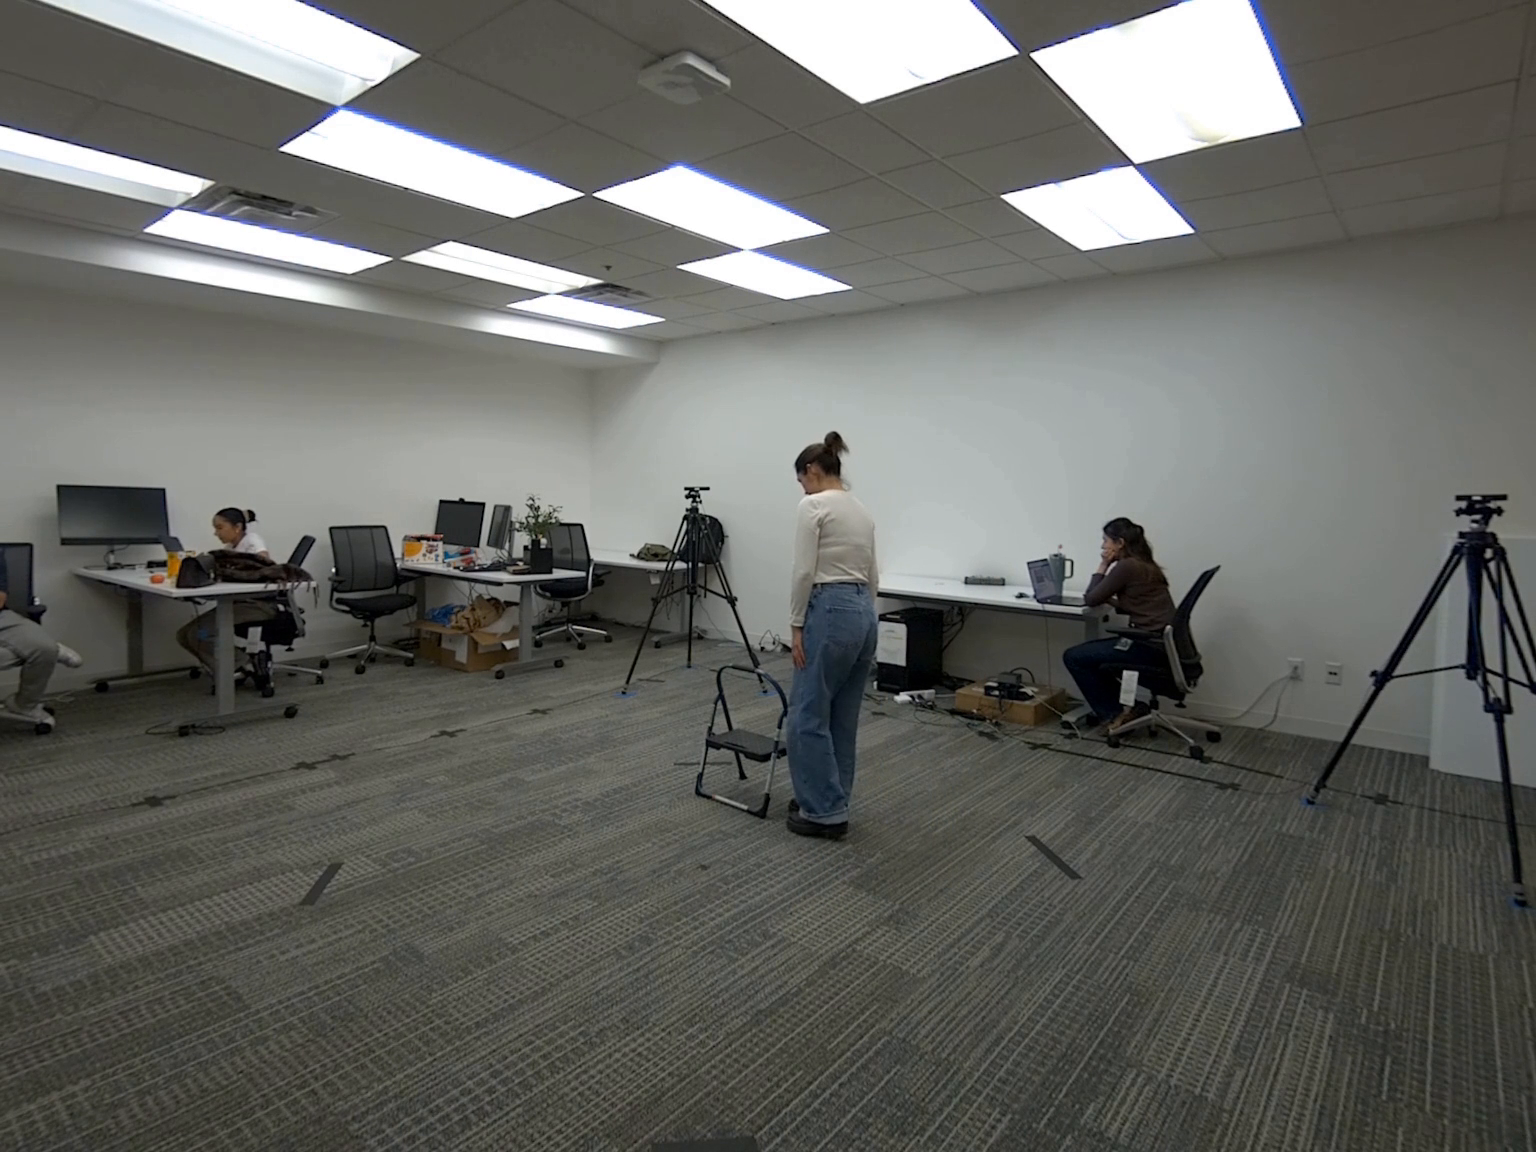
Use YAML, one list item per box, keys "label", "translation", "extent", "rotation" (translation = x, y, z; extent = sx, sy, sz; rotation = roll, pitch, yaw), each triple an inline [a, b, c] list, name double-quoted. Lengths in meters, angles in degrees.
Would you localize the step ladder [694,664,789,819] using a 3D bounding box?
- label: "step ladder"
  translation: [-0.074, 0.692, 3.836]
  extent: [0.445, 0.604, 0.339]
  rotation: [4, 4, 41]
